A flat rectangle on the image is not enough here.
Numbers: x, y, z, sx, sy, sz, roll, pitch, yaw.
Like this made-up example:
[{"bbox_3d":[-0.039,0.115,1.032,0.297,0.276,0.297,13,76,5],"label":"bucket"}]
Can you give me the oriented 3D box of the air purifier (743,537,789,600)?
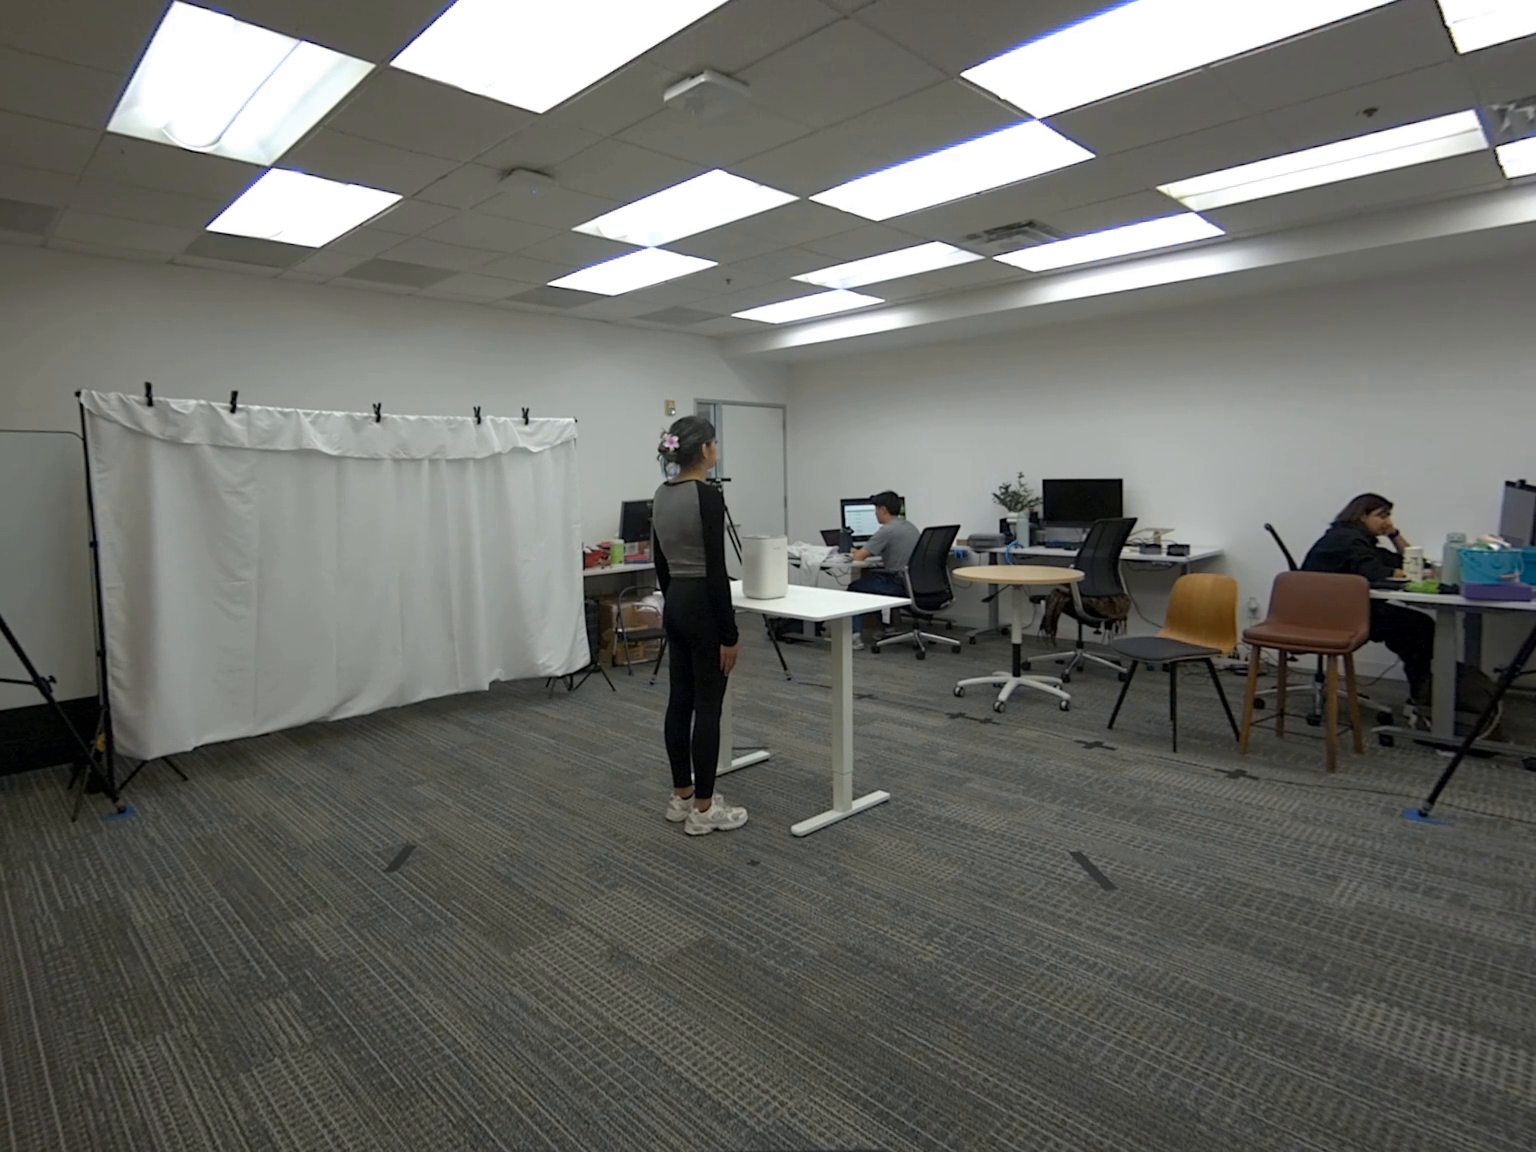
[{"bbox_3d":[-0.019,-0.042,3.692,0.167,0.264,0.177,-6,8,-40],"label":"air purifier"}]
